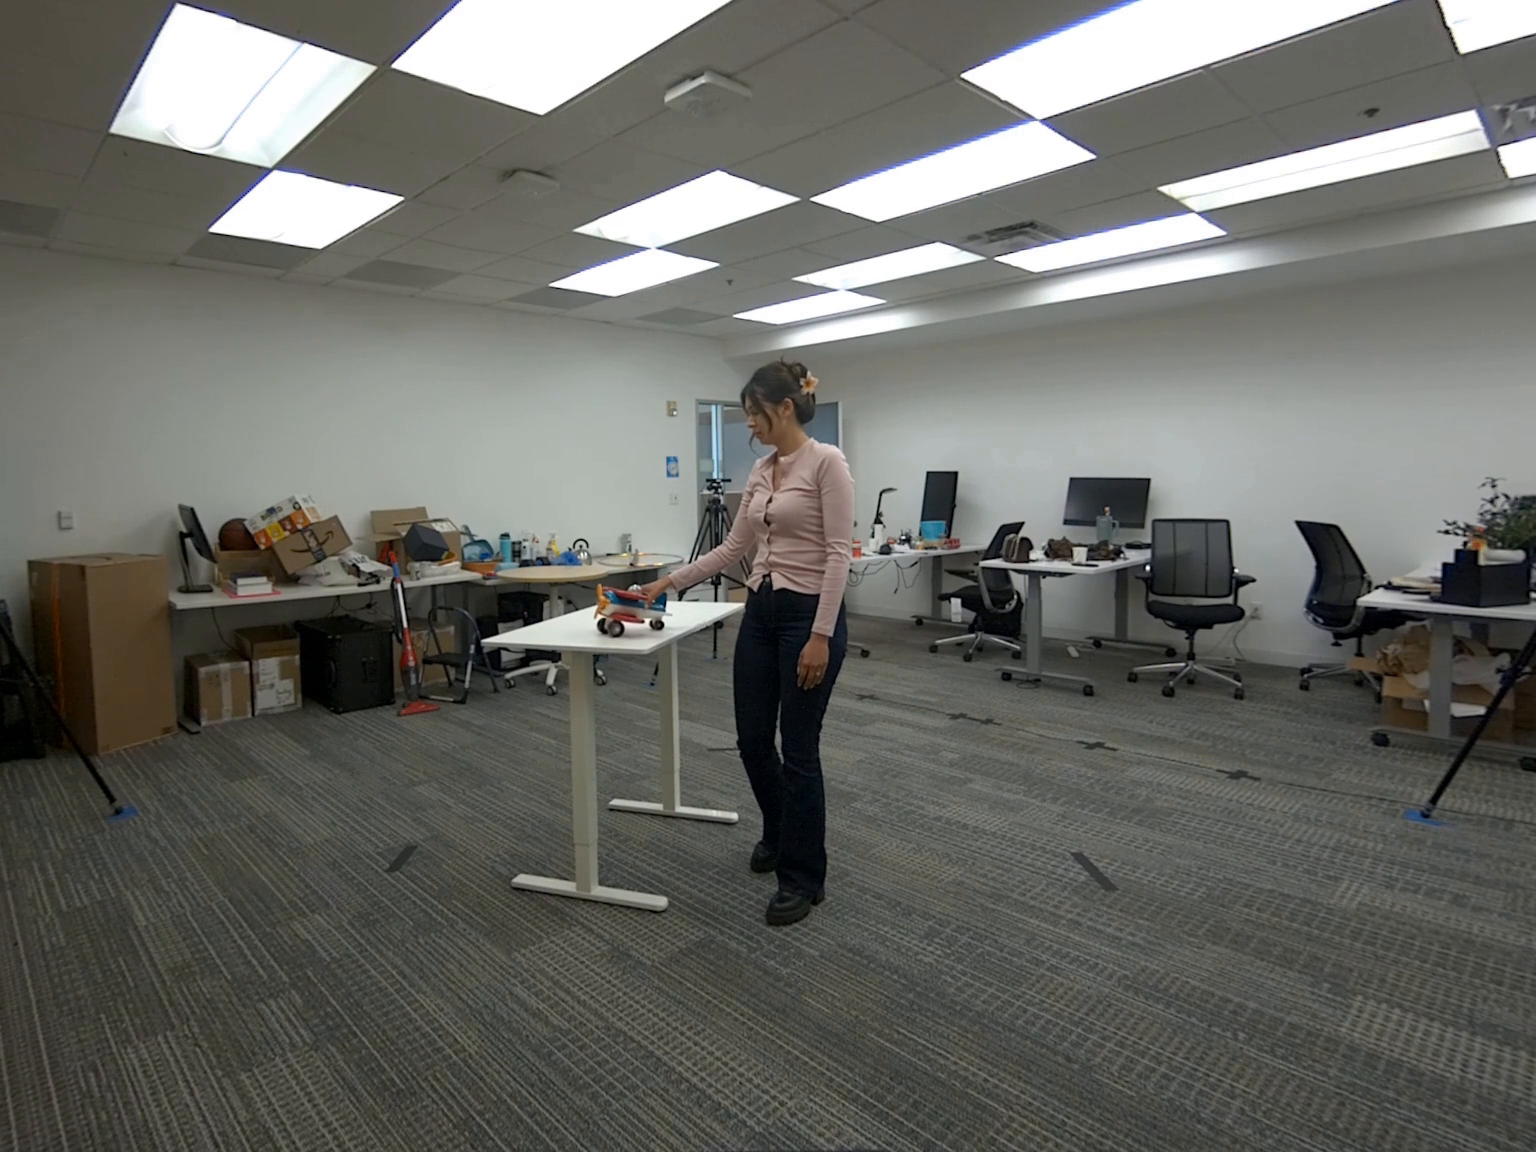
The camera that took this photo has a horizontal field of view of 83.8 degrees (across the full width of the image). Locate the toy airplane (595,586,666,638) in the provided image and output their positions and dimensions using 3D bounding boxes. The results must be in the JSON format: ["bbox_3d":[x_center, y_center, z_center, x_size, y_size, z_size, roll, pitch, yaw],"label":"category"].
[{"bbox_3d":[-0.468,0.115,2.914,0.257,0.155,0.254,4,8,28],"label":"toy airplane"}]
